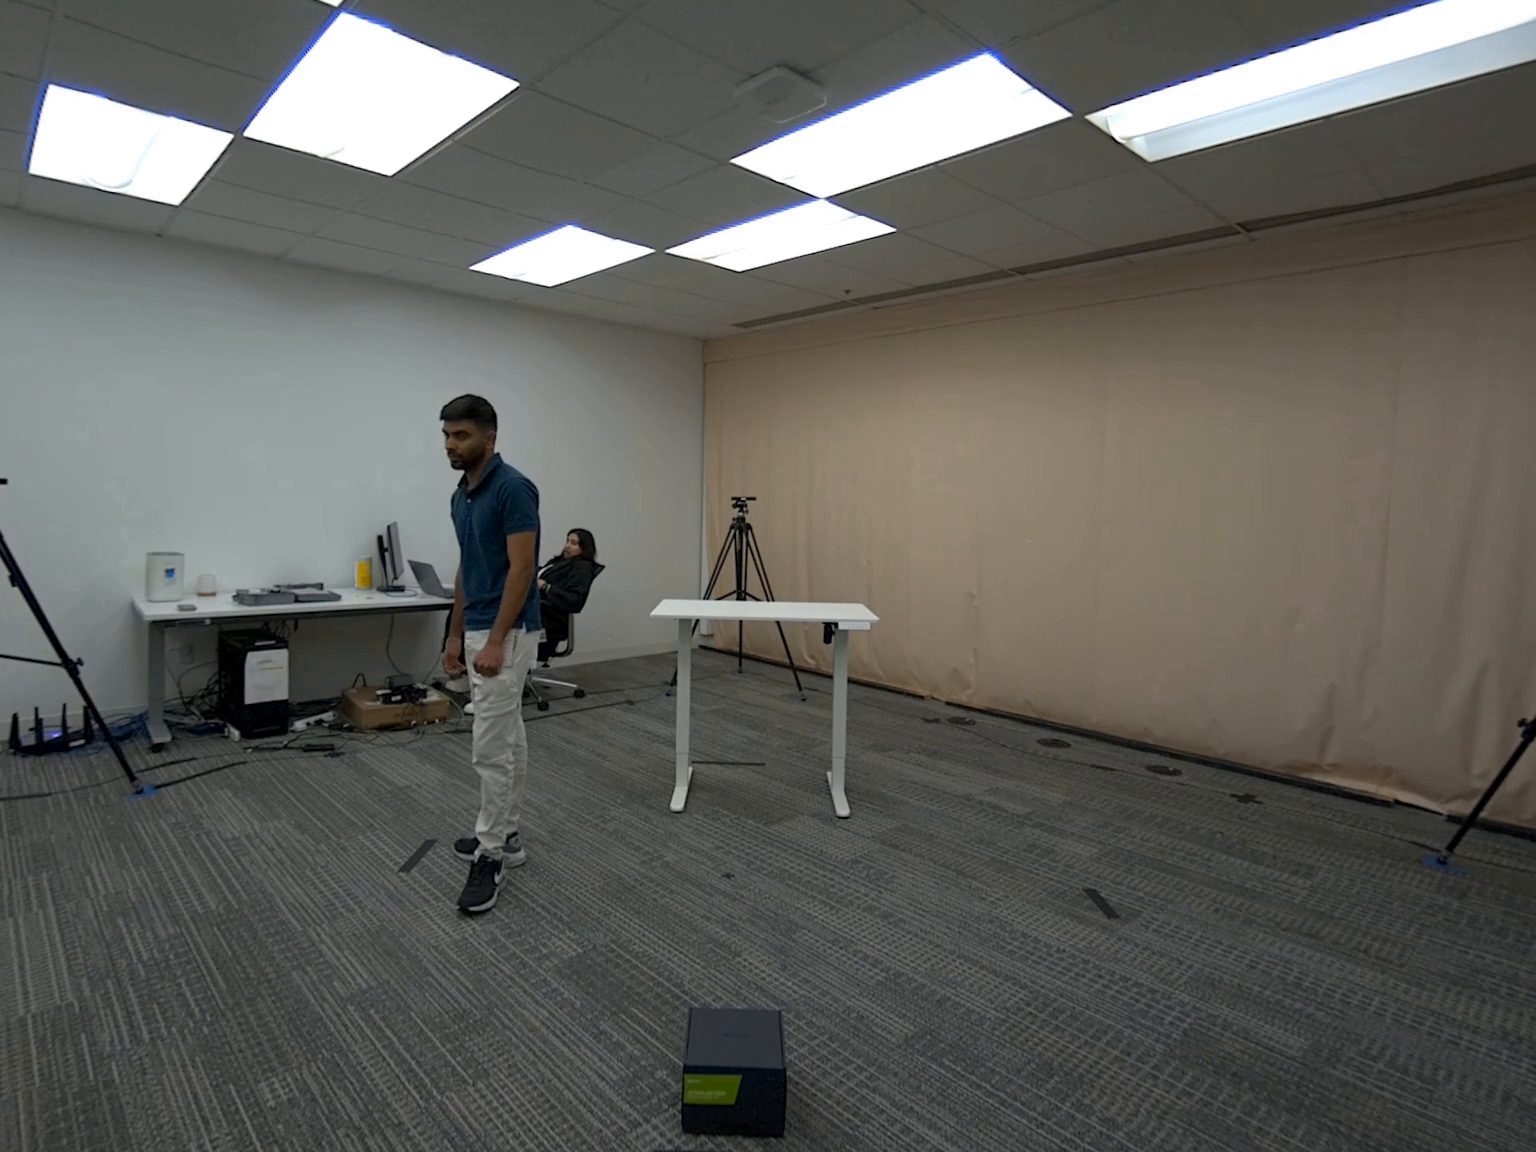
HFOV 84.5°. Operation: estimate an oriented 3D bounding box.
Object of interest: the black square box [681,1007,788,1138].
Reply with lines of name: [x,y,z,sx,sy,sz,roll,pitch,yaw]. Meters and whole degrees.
black square box: [-0.081,1.135,1.936,0.228,0.155,0.218,1,4,-1]
